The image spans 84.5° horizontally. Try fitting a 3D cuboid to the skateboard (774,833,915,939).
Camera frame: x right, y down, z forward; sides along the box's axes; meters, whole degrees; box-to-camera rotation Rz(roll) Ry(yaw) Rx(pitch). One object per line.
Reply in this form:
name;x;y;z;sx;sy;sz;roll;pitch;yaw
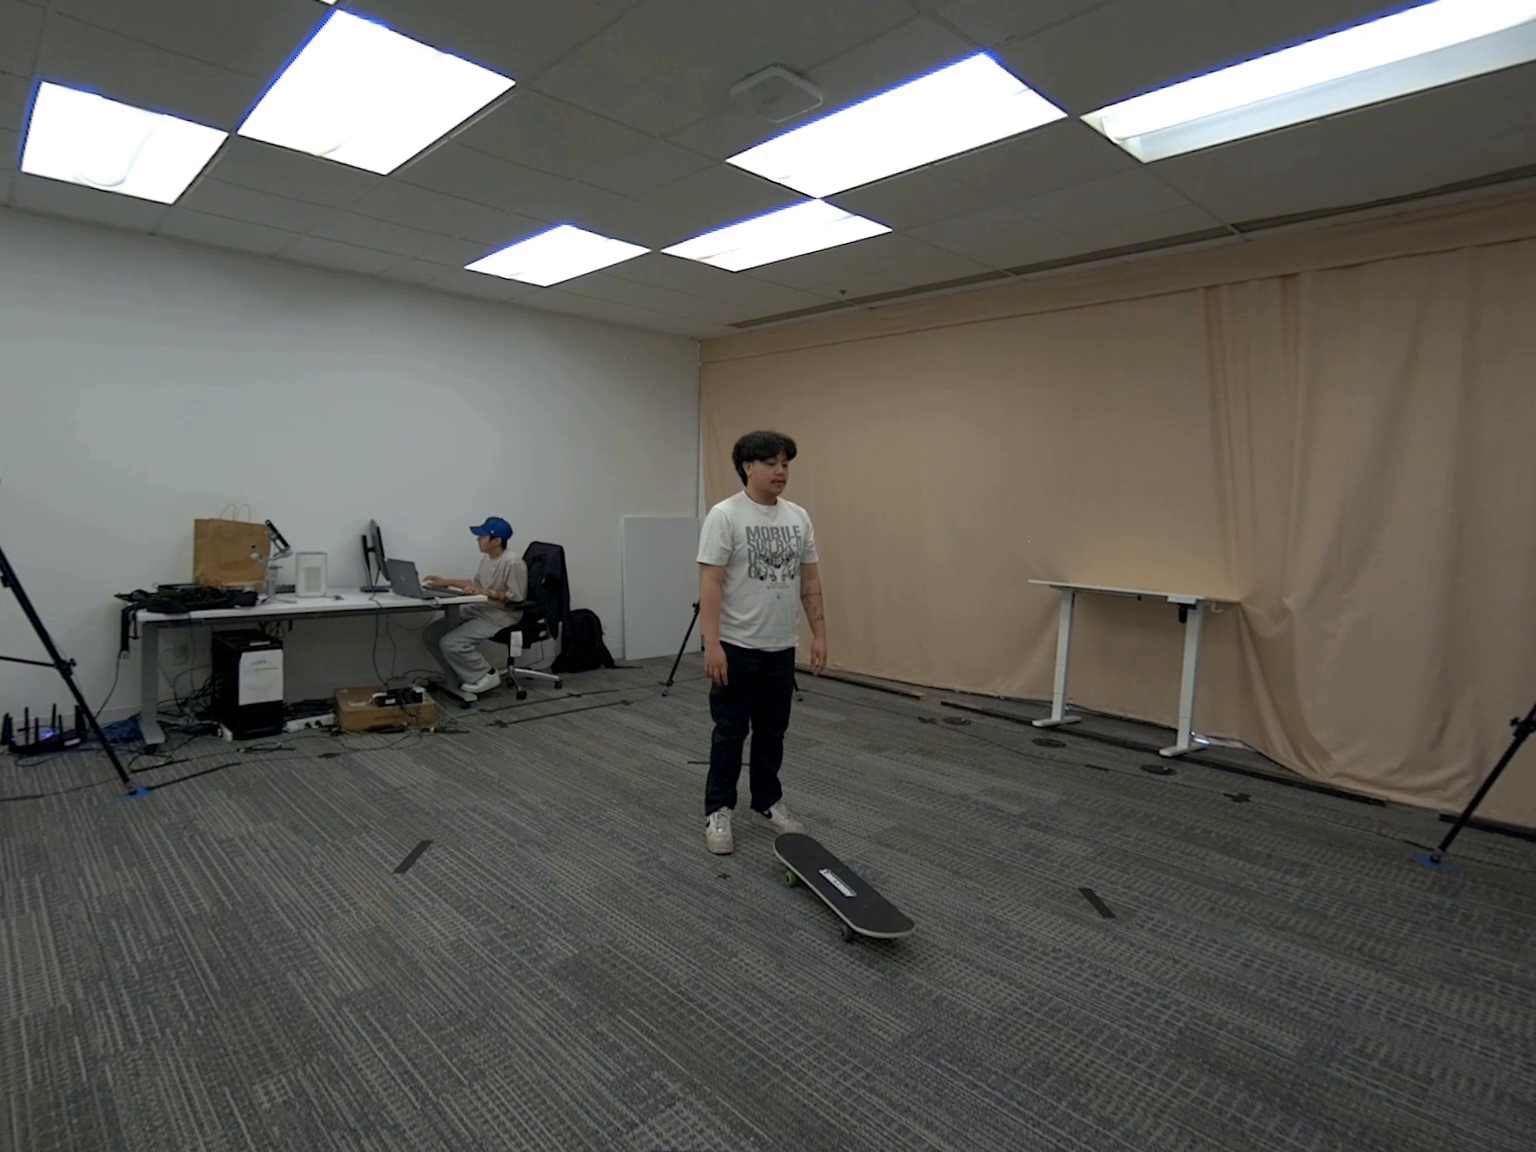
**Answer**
skateboard;0.227;1.080;2.883;0.190;0.110;0.801;-1;6;-24
